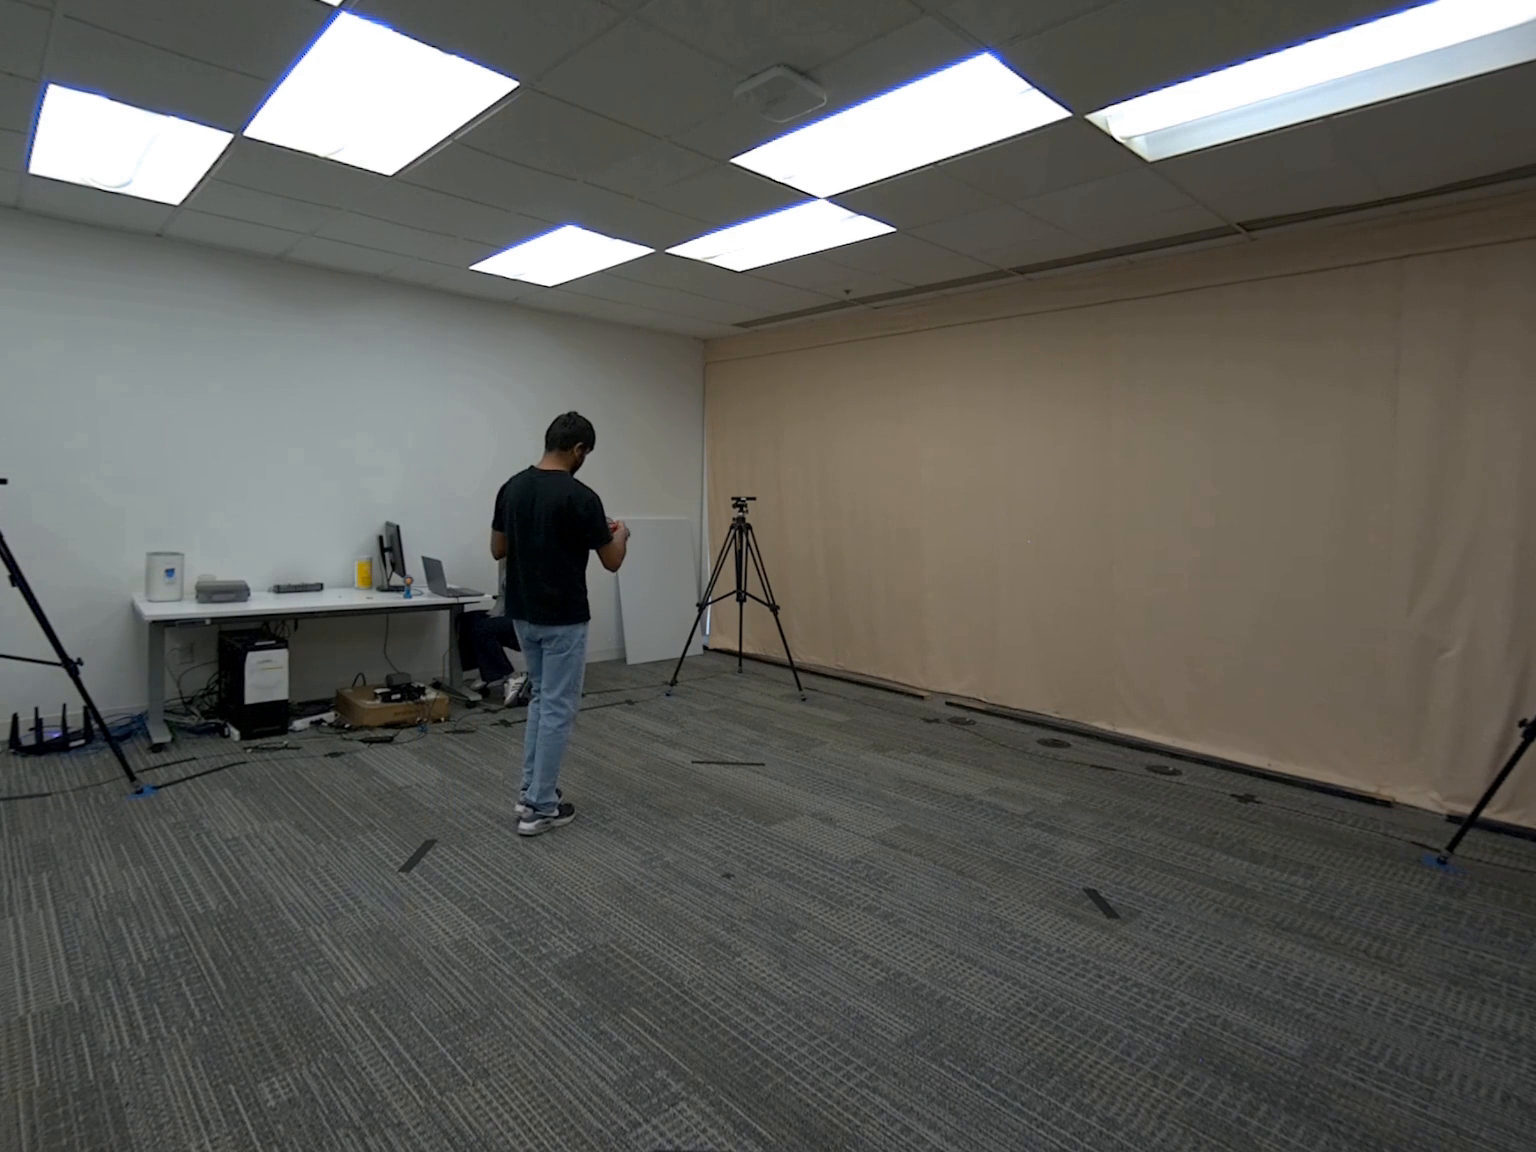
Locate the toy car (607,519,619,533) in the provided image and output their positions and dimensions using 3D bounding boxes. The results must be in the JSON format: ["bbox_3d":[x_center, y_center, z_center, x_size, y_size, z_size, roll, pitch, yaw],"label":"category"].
[{"bbox_3d":[-0.764,-0.232,3.760,0.134,0.083,0.246,20,-8,40],"label":"toy car"}]
